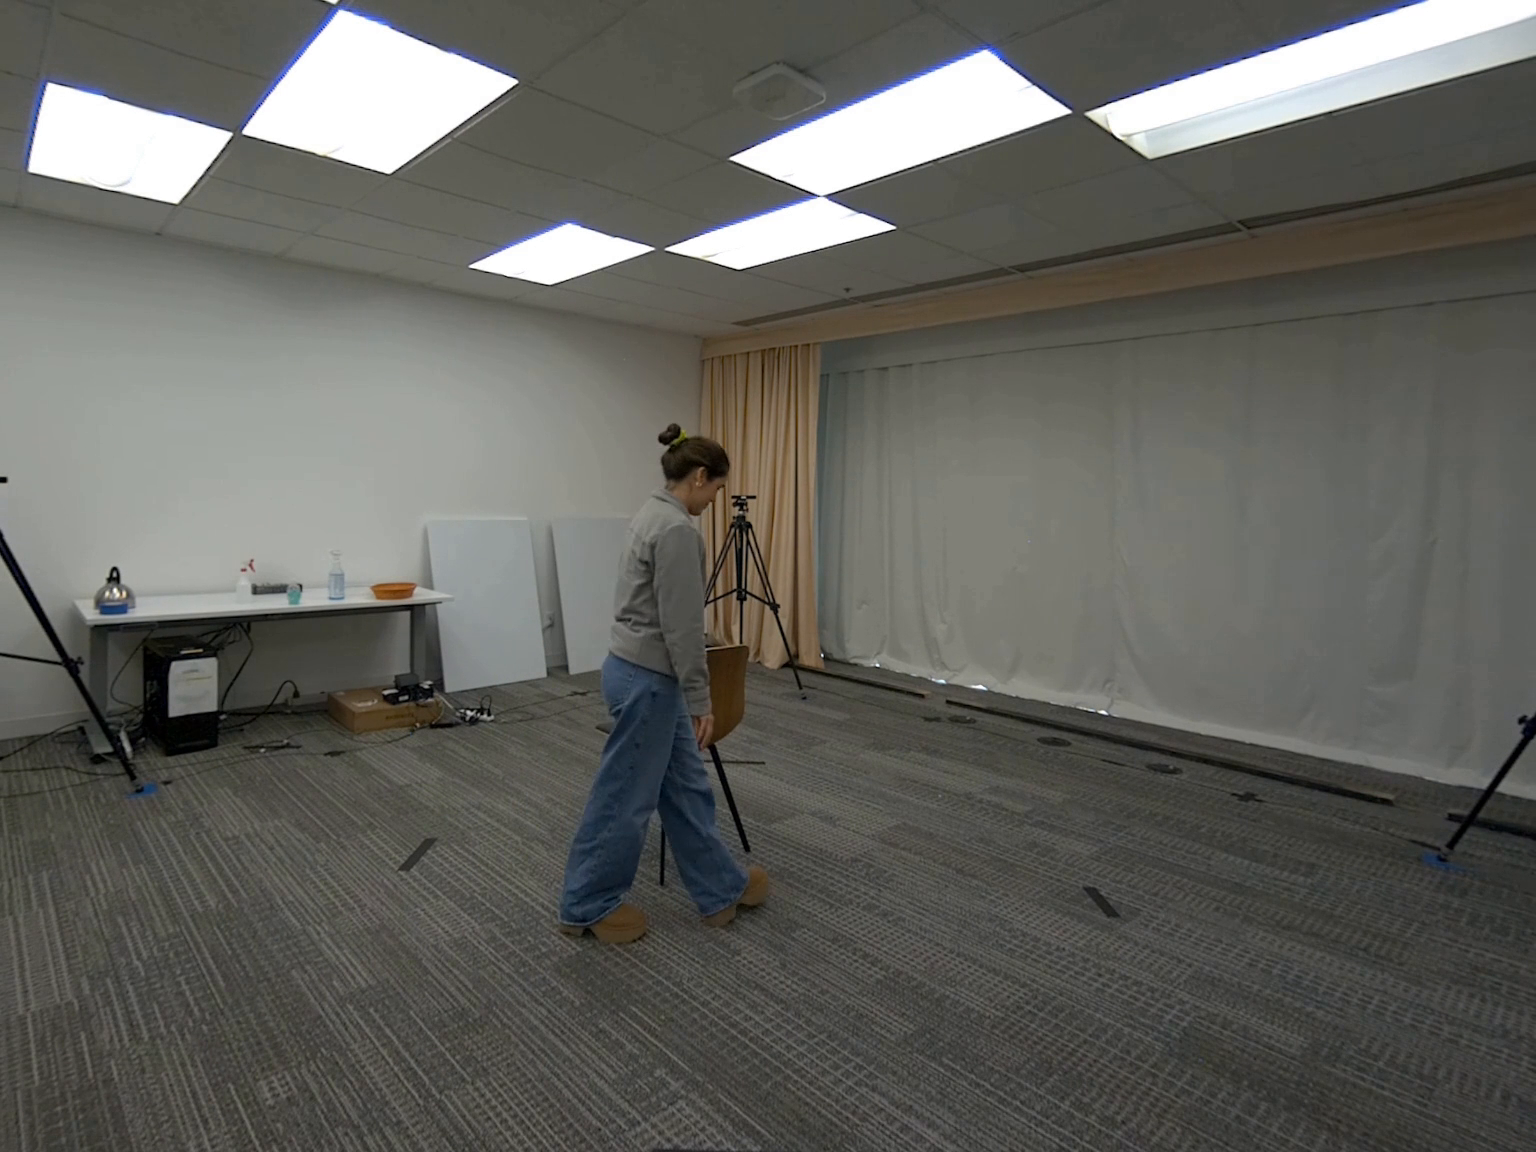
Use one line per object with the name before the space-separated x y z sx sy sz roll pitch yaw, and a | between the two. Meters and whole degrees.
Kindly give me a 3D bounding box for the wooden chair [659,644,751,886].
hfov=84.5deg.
wooden chair | -0.383 0.654 3.290 0.537 0.873 0.467 11 10 44
